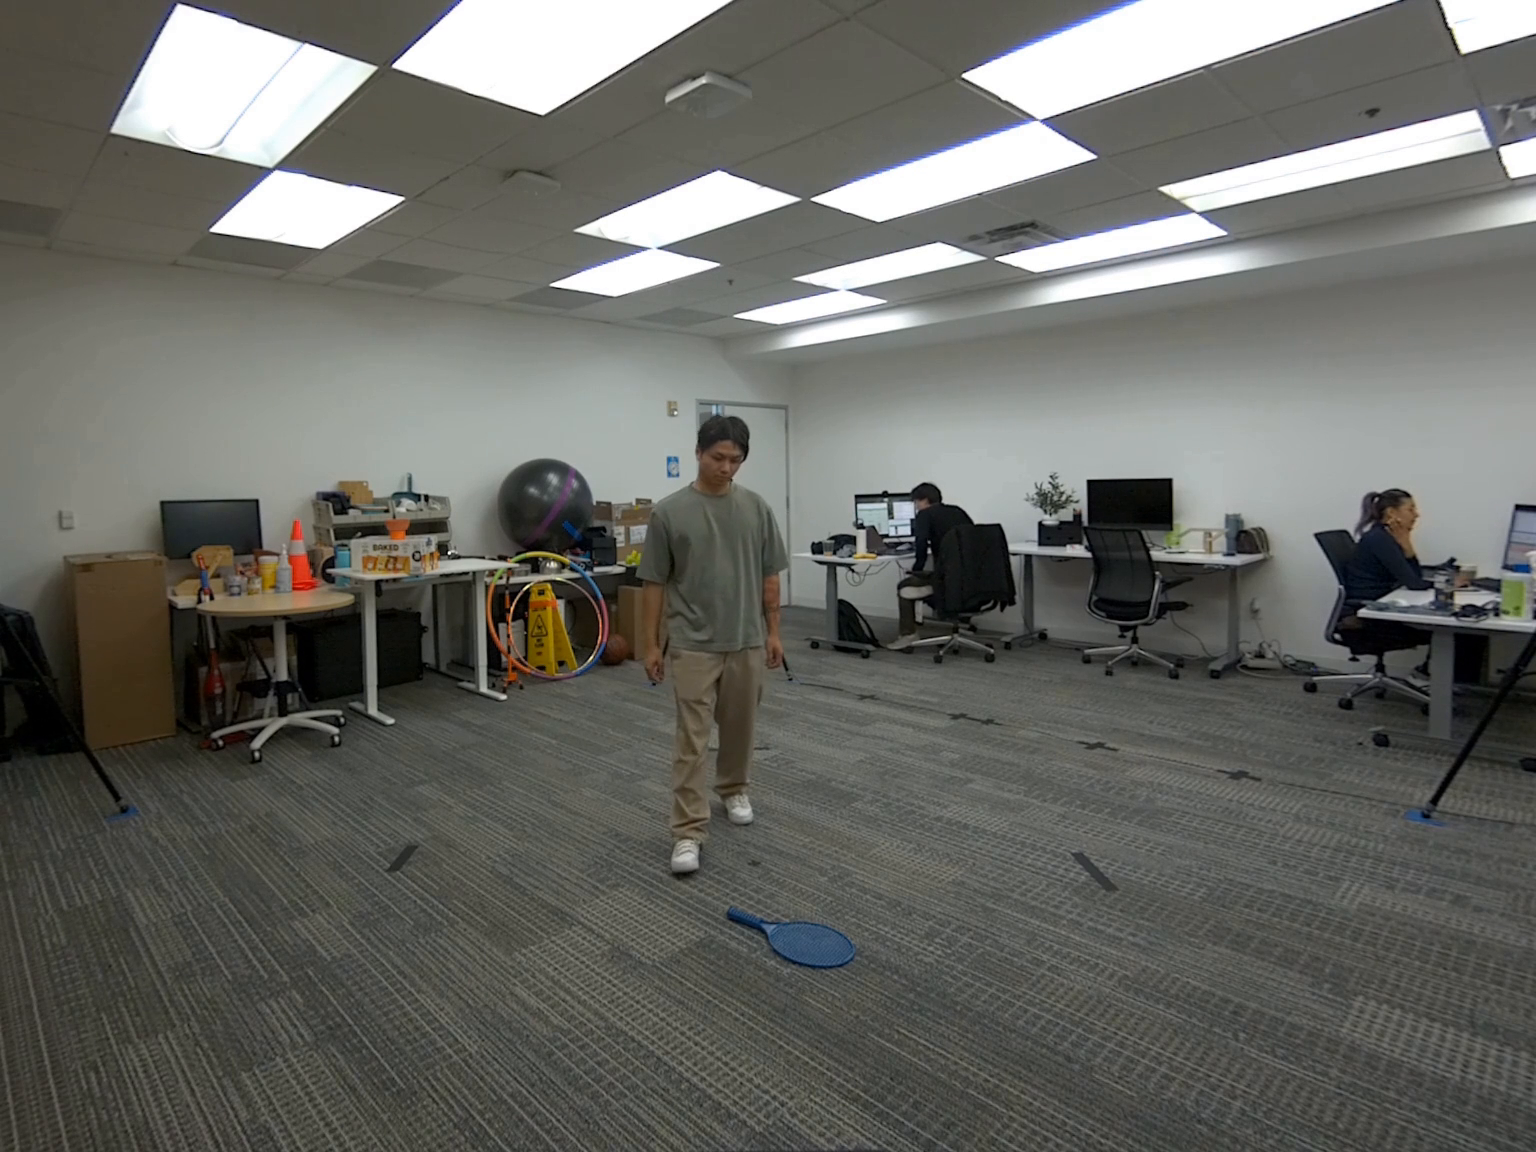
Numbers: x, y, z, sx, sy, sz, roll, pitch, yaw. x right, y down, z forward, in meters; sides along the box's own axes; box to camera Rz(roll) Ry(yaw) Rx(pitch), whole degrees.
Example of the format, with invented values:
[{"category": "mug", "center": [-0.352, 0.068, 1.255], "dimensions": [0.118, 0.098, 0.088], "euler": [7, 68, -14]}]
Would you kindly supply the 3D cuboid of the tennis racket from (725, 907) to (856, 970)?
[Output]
[{"category": "tennis racket", "center": [0.063, 1.086, 2.598], "dimensions": [0.446, 0.031, 0.209], "euler": [5, 8, 34]}]
